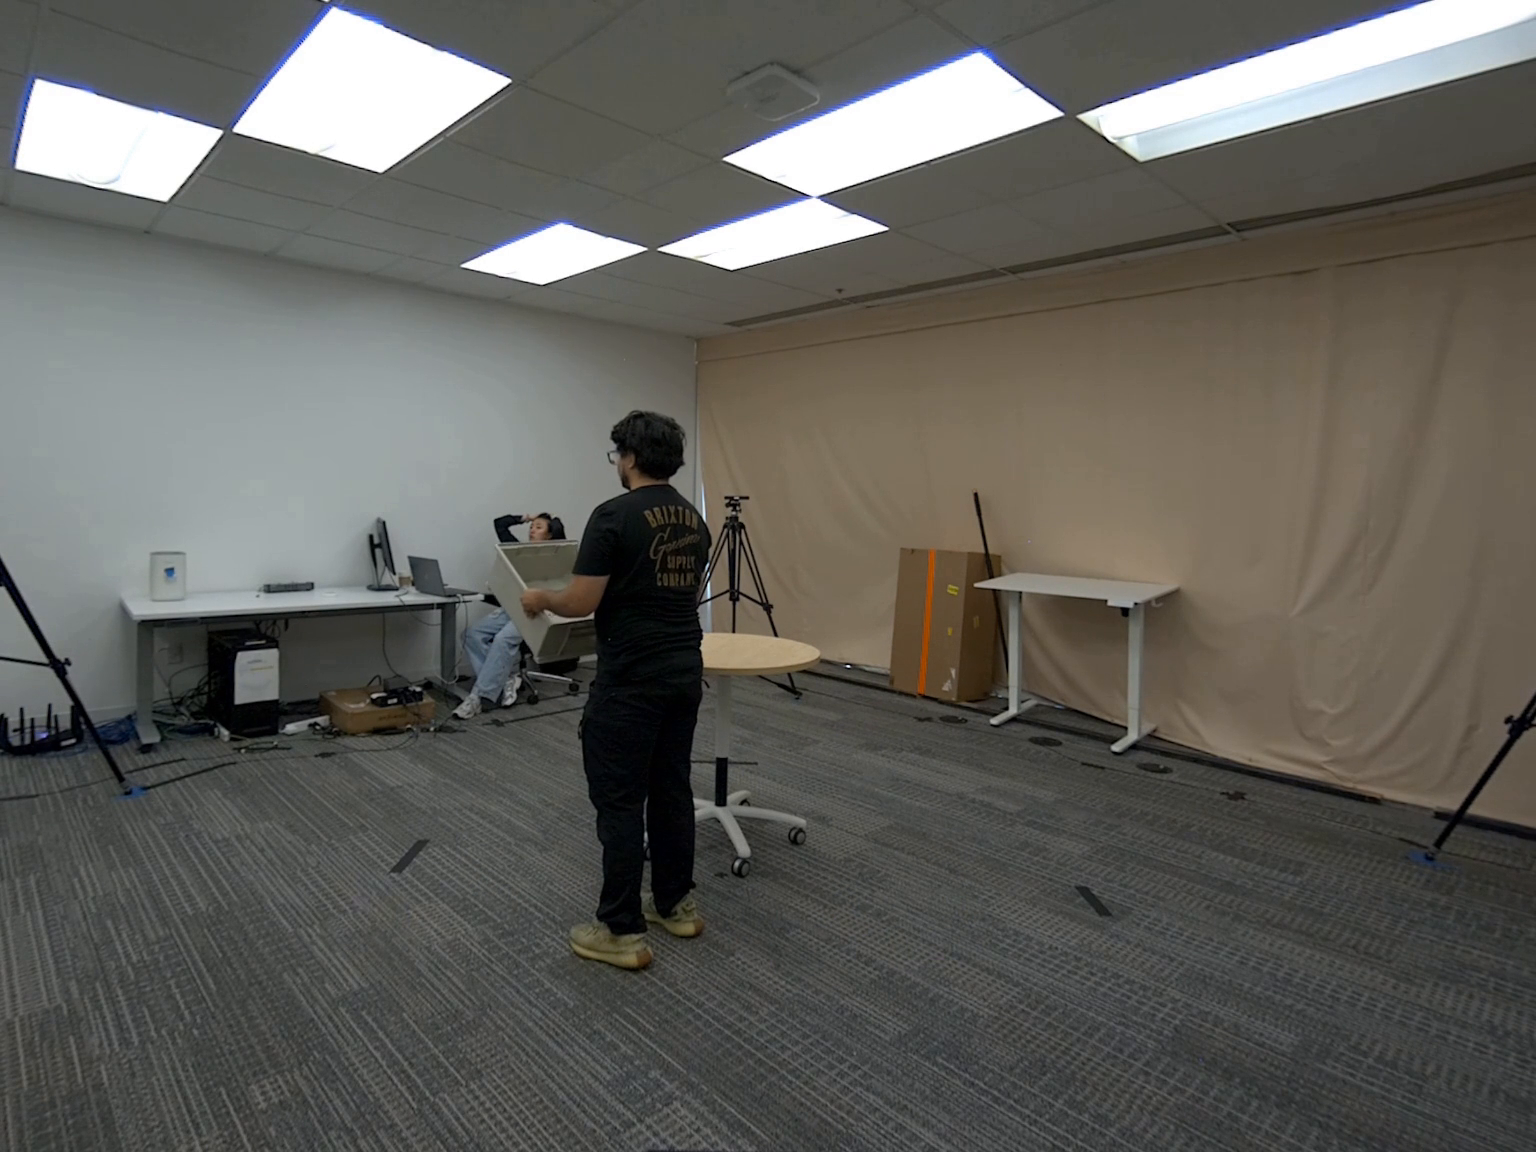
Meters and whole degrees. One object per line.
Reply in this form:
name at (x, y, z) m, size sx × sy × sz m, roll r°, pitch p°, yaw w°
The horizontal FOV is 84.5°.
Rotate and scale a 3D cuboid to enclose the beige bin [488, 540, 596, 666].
beige bin at (-0.716, 0.077, 2.936) m, size 0.369 × 0.187 × 0.435 m, roll -7°, pitch 42°, yaw -44°
